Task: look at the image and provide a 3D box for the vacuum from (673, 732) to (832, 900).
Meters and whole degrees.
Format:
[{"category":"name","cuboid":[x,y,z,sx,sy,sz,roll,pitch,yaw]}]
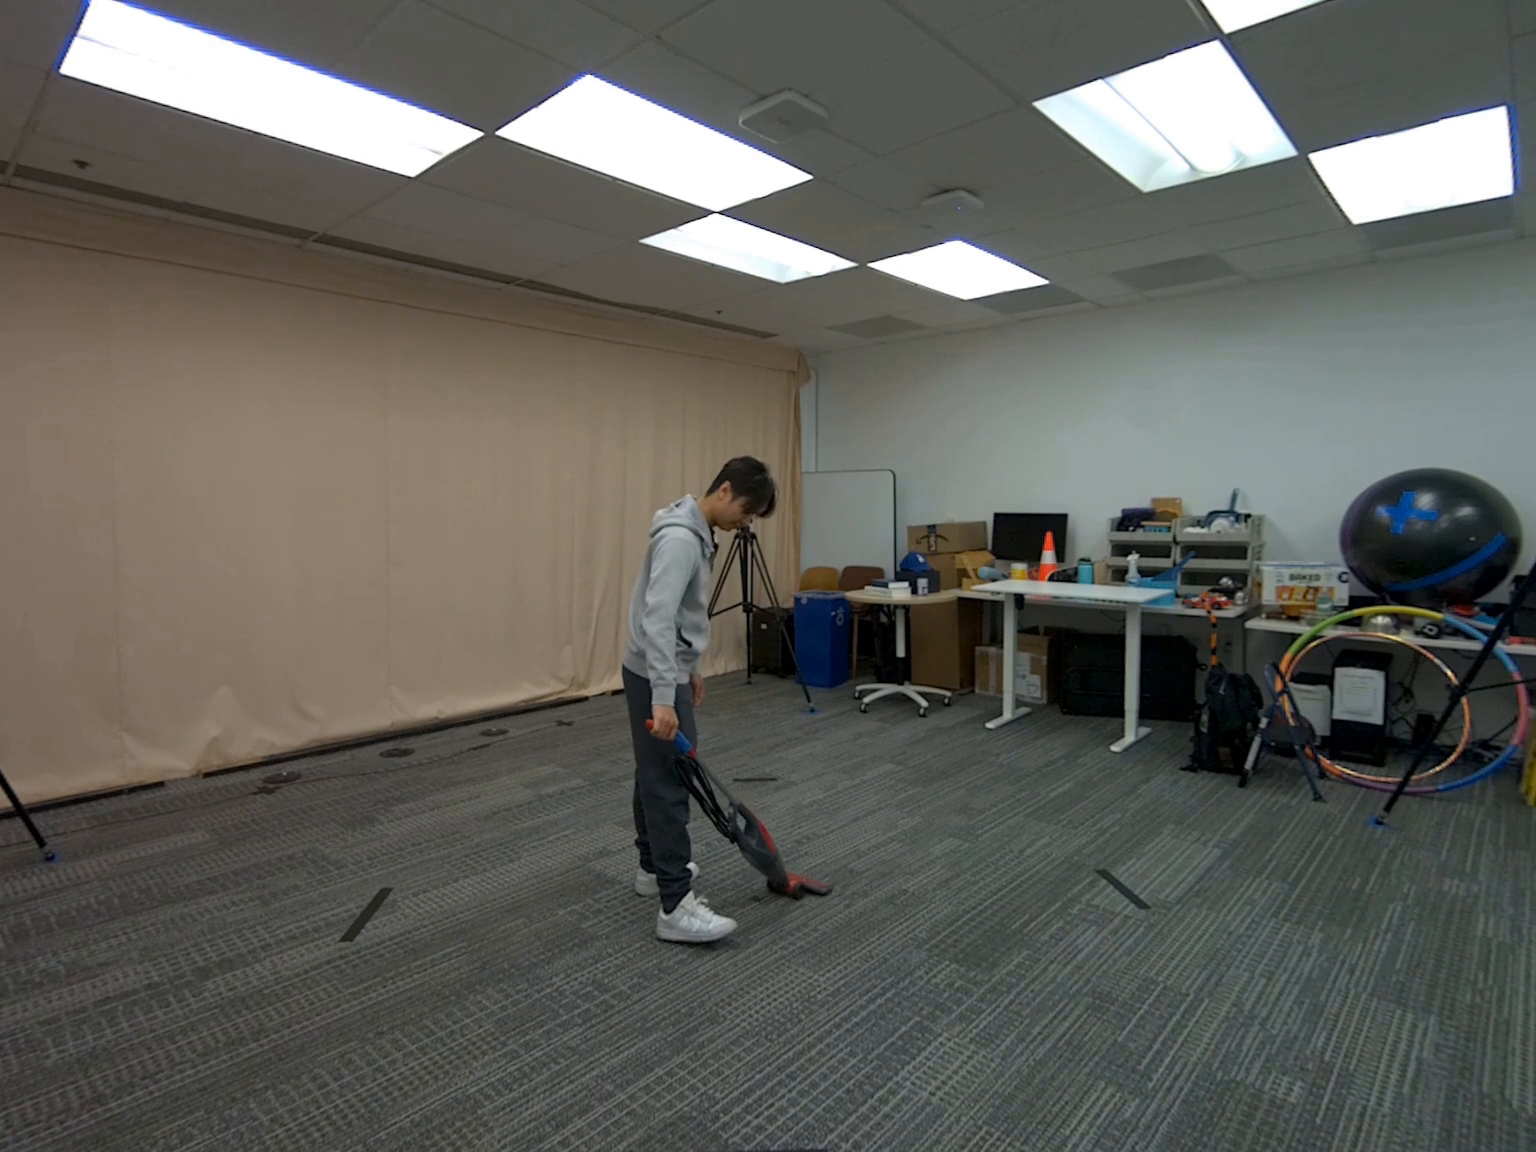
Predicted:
[{"category":"vacuum","cuboid":[-0.110,0.791,2.763,0.260,0.144,1.015,-3,-42,33]}]
